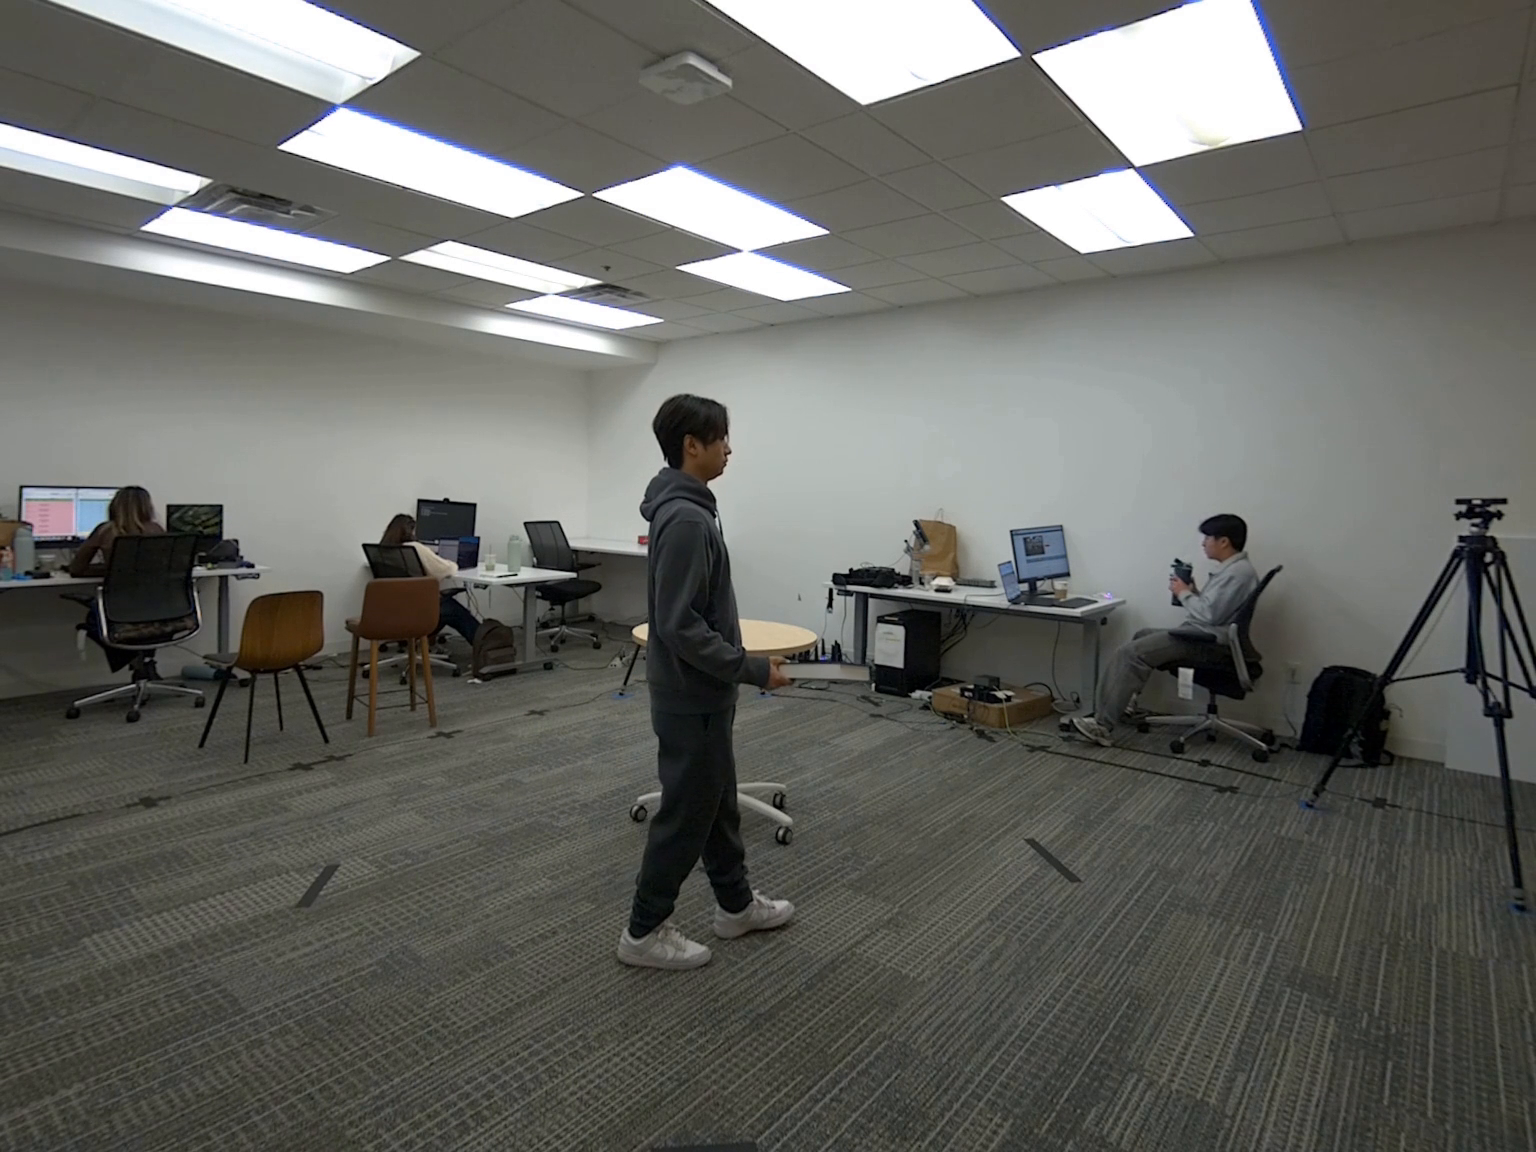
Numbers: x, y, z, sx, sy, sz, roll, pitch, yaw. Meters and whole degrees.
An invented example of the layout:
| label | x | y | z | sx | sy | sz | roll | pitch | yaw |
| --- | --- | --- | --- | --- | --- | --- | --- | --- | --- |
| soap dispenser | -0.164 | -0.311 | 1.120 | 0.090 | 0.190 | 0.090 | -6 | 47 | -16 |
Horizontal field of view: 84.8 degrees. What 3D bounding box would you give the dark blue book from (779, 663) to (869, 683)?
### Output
| label | x | y | z | sx | sy | sz | roll | pitch | yaw |
| --- | --- | --- | --- | --- | --- | --- | --- | --- | --- |
| dark blue book | 0.128 | 0.262 | 2.317 | 0.252 | 0.045 | 0.157 | -4 | -10 | 35 |
